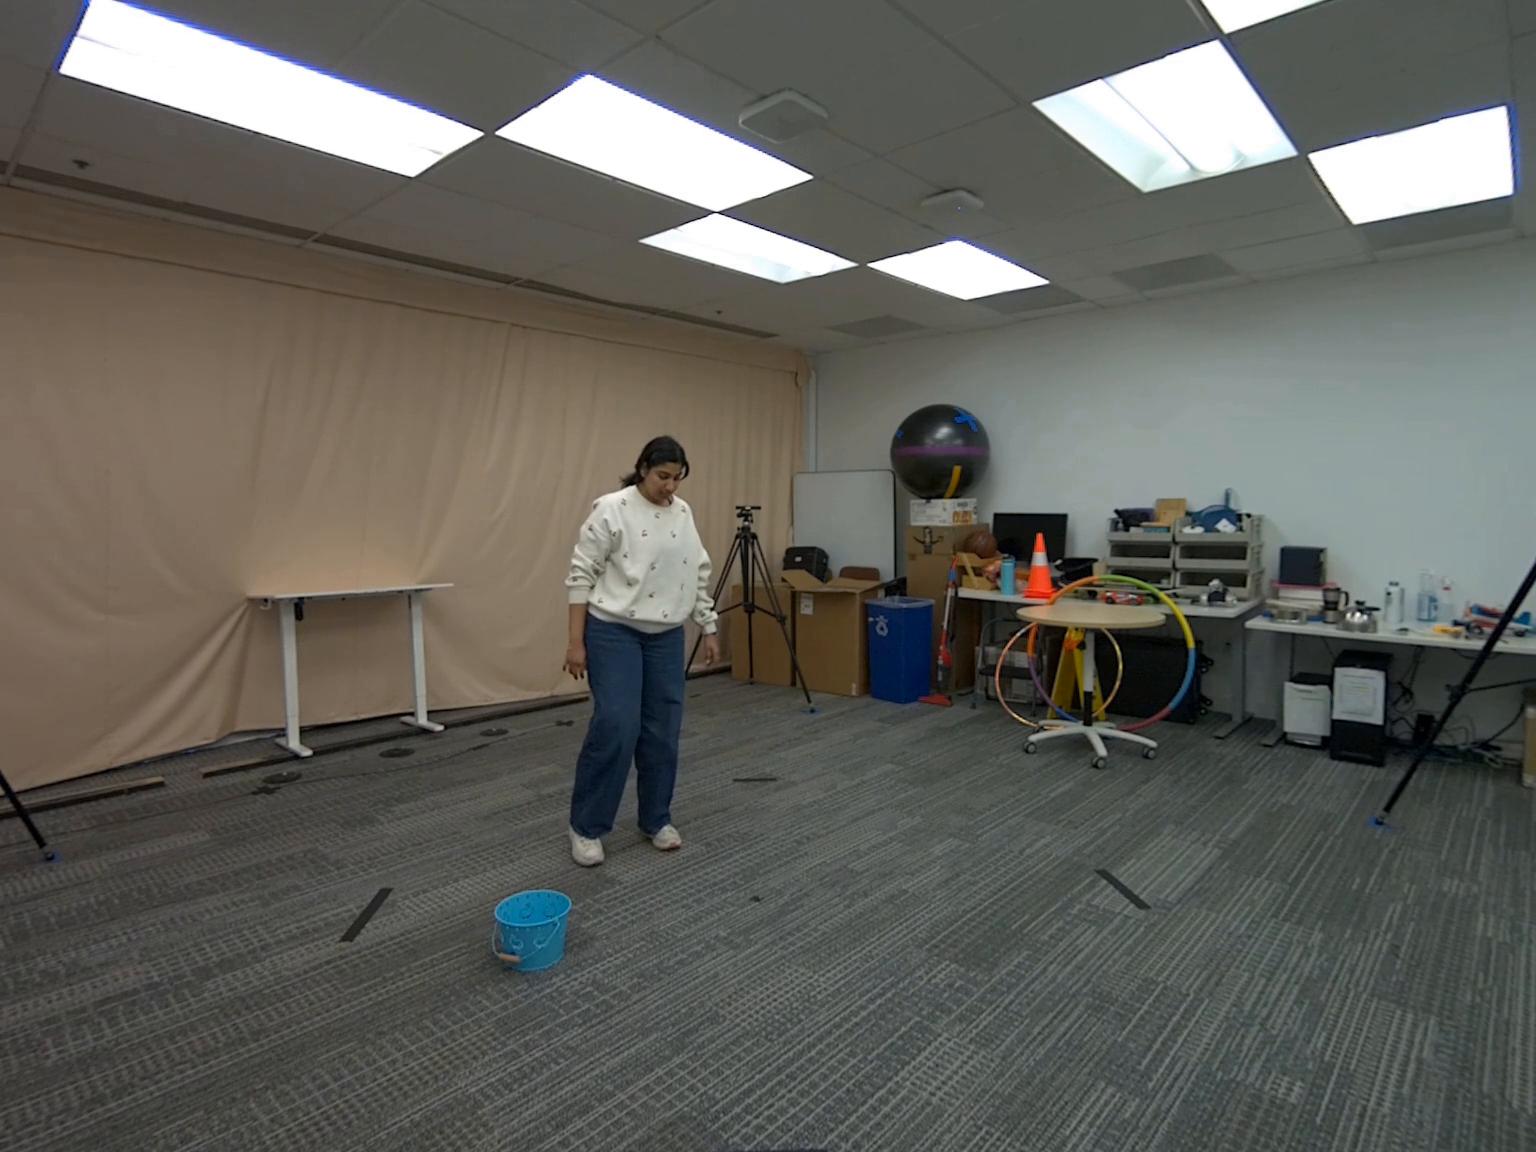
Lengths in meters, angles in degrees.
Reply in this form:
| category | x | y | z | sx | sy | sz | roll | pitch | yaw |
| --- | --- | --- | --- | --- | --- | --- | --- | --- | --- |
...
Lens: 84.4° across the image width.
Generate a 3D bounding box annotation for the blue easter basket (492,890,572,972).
| category | x | y | z | sx | sy | sz | roll | pitch | yaw |
| --- | --- | --- | --- | --- | --- | --- | --- | --- | --- |
| blue easter basket | -0.731 | 1.094 | 2.613 | 0.243 | 0.155 | 0.244 | 0 | 3 | -2 |
